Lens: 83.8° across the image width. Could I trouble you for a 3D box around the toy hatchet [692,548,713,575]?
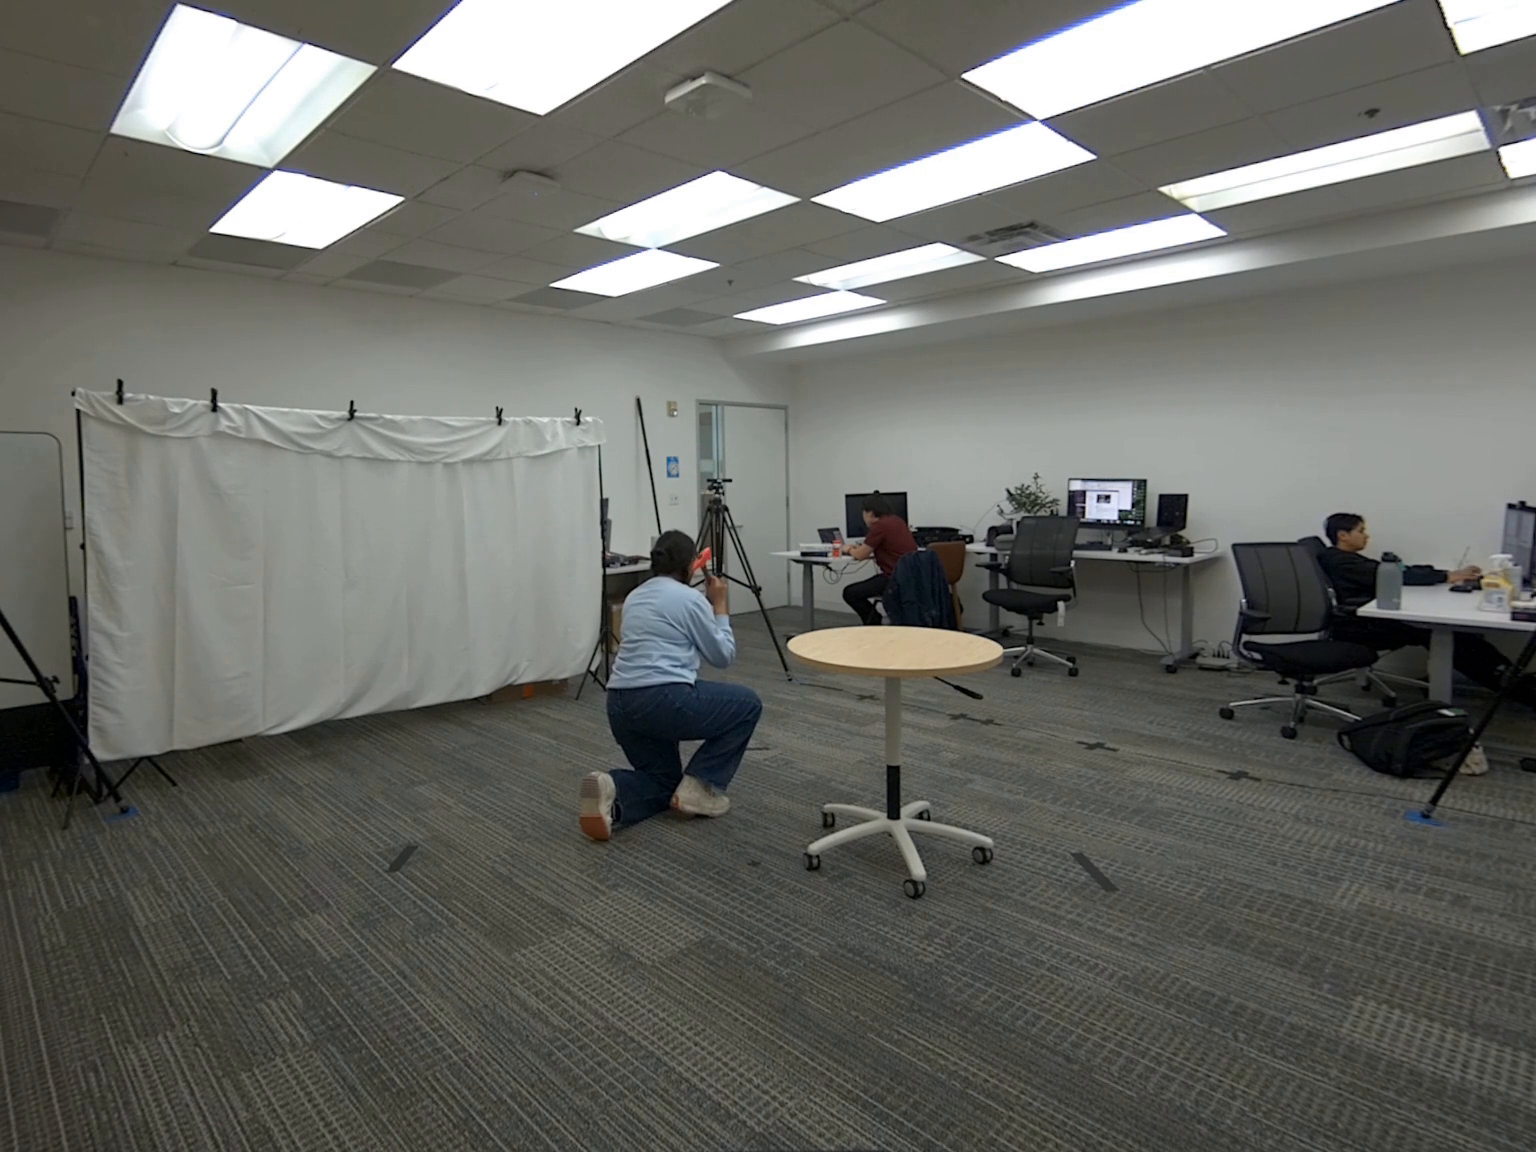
[{"bbox_3d":[-0.238,-0.033,3.705,0.030,0.132,0.261,18,-14,25],"label":"toy hatchet"}]
